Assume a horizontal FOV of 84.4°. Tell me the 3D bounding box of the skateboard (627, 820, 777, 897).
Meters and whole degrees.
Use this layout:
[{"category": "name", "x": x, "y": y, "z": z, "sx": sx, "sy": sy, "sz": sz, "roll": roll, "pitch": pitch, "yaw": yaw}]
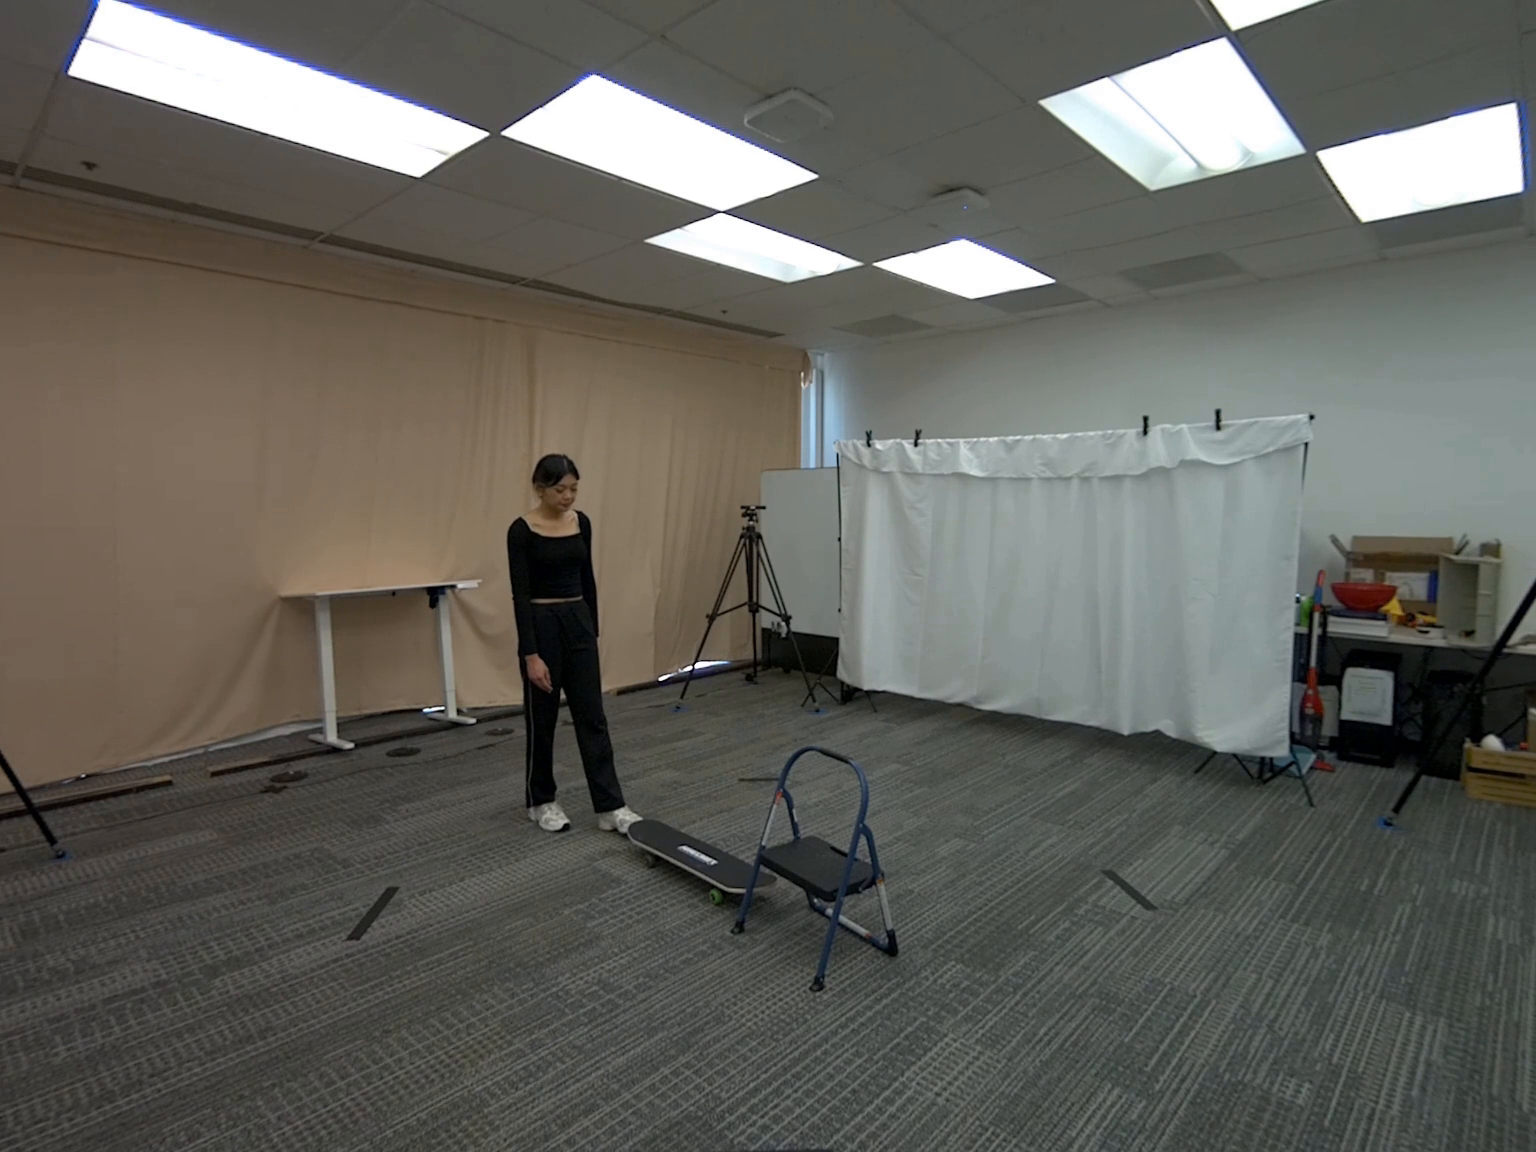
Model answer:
[{"category": "skateboard", "x": -0.265, "y": 1.075, "z": 3.148, "sx": 0.187, "sy": 0.110, "sz": 0.812, "roll": -3, "pitch": 5, "yaw": -42}]
